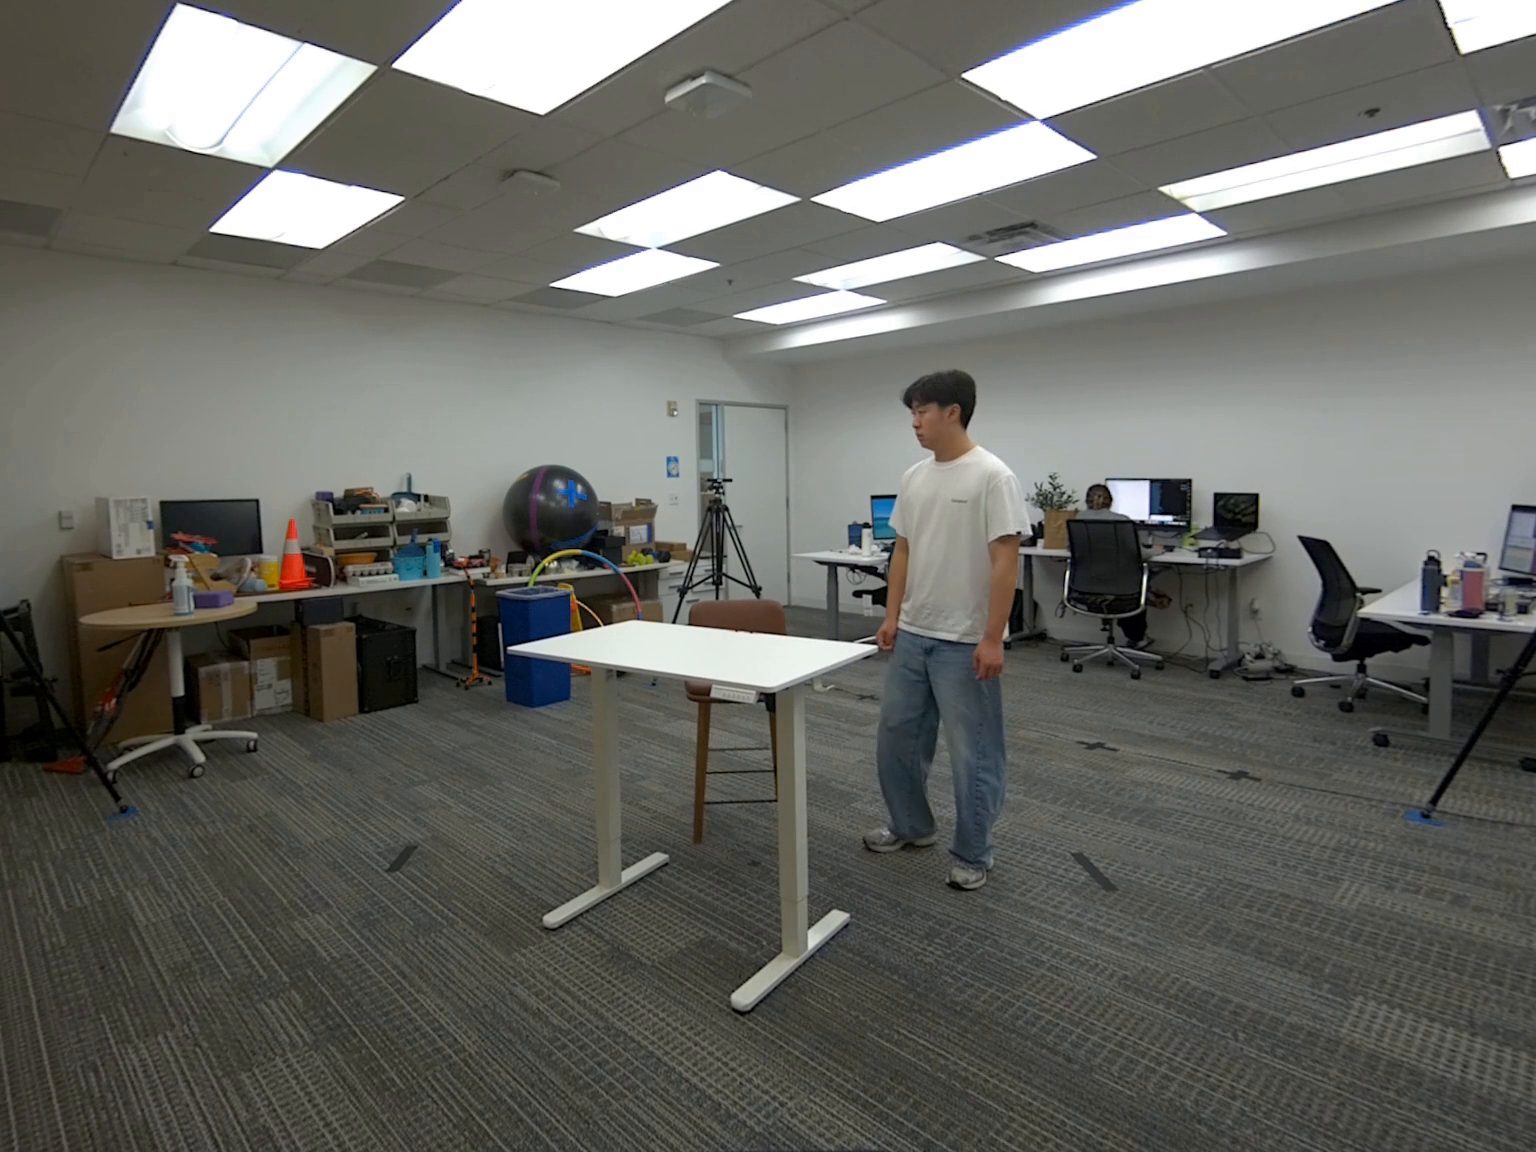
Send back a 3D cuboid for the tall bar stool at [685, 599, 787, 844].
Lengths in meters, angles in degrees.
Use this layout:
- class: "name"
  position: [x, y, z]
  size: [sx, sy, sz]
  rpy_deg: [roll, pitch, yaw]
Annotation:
- class: "tall bar stool"
  position: [-0.101, 0.568, 3.494]
  size: [0.455, 0.888, 0.470]
  rpy_deg: [-1, 2, -5]
